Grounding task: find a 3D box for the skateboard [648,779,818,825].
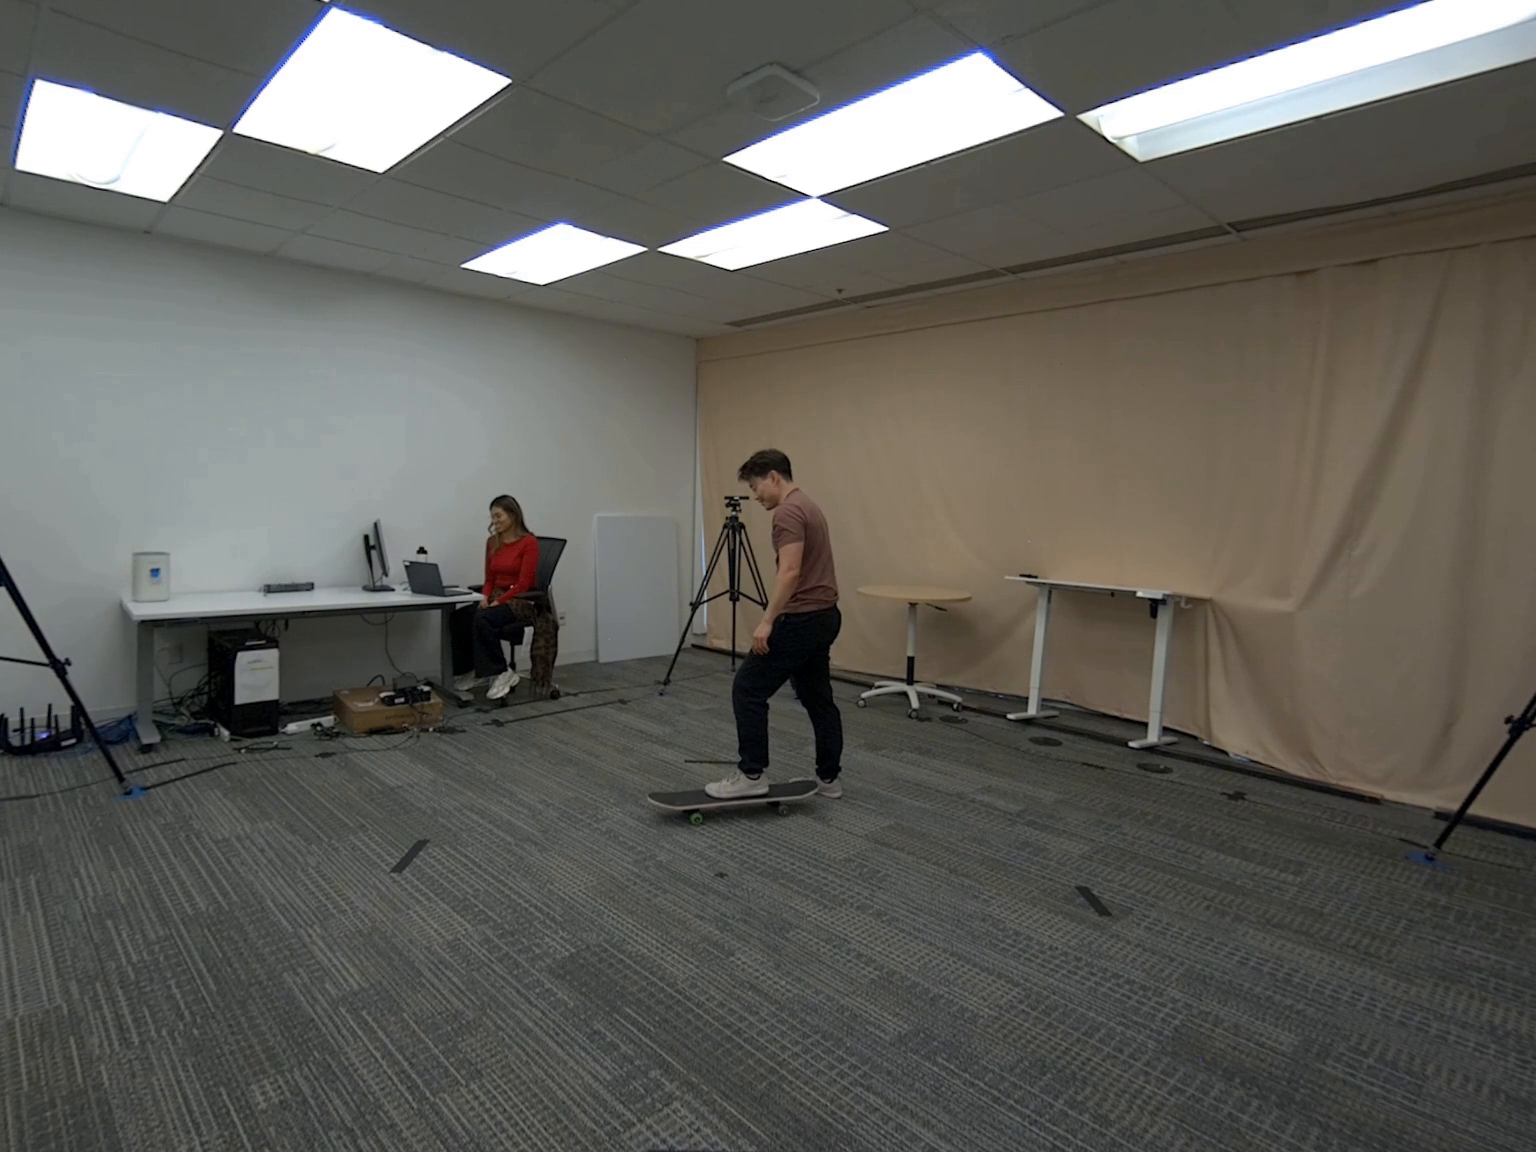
[{"bbox_3d":[-0.157,0.990,3.714,0.774,0.110,0.197,-1,4,-19],"label":"skateboard"}]
